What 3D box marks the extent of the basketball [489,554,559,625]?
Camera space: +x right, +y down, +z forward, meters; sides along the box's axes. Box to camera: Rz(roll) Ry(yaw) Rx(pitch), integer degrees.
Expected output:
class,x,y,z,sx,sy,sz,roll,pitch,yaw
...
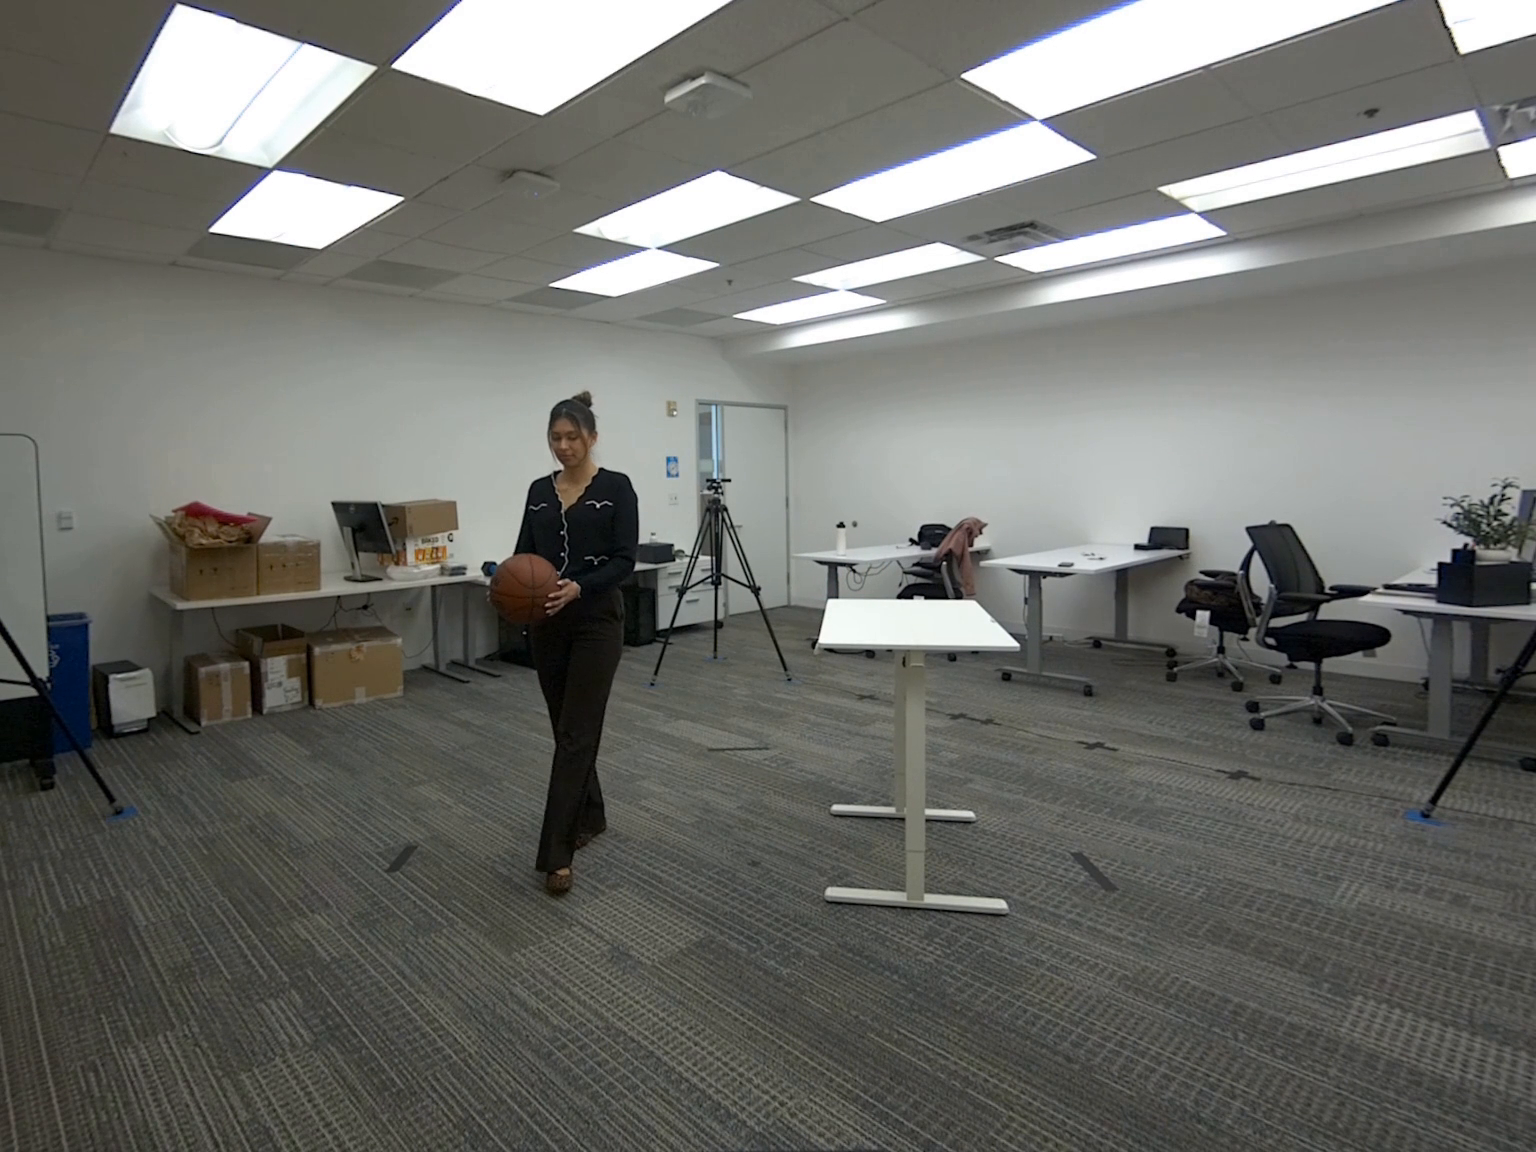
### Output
class,x,y,z,sx,sy,sz,roll,pitch,yaw
basketball,-0.817,0.044,2.865,0.236,0.235,0.237,-1,5,-2
